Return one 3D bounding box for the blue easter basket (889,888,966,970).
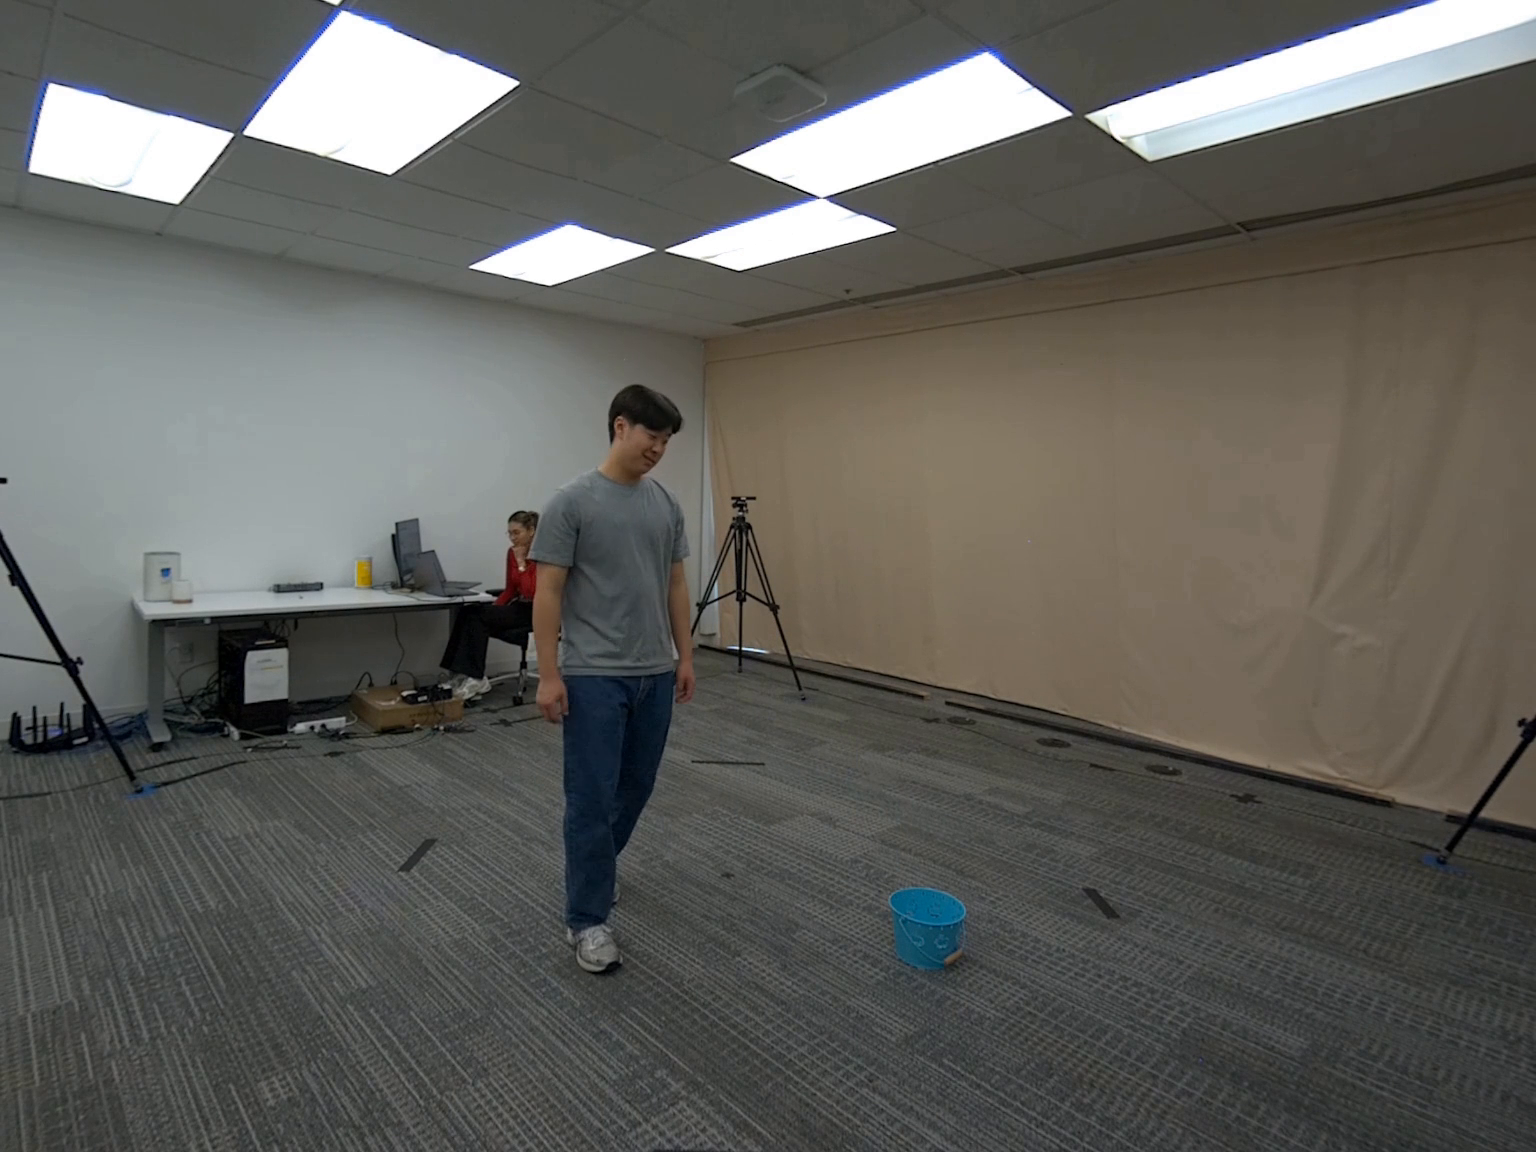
[{"bbox_3d":[0.480,1.088,2.594,0.243,0.155,0.244,1,4,-1],"label":"blue easter basket"}]
